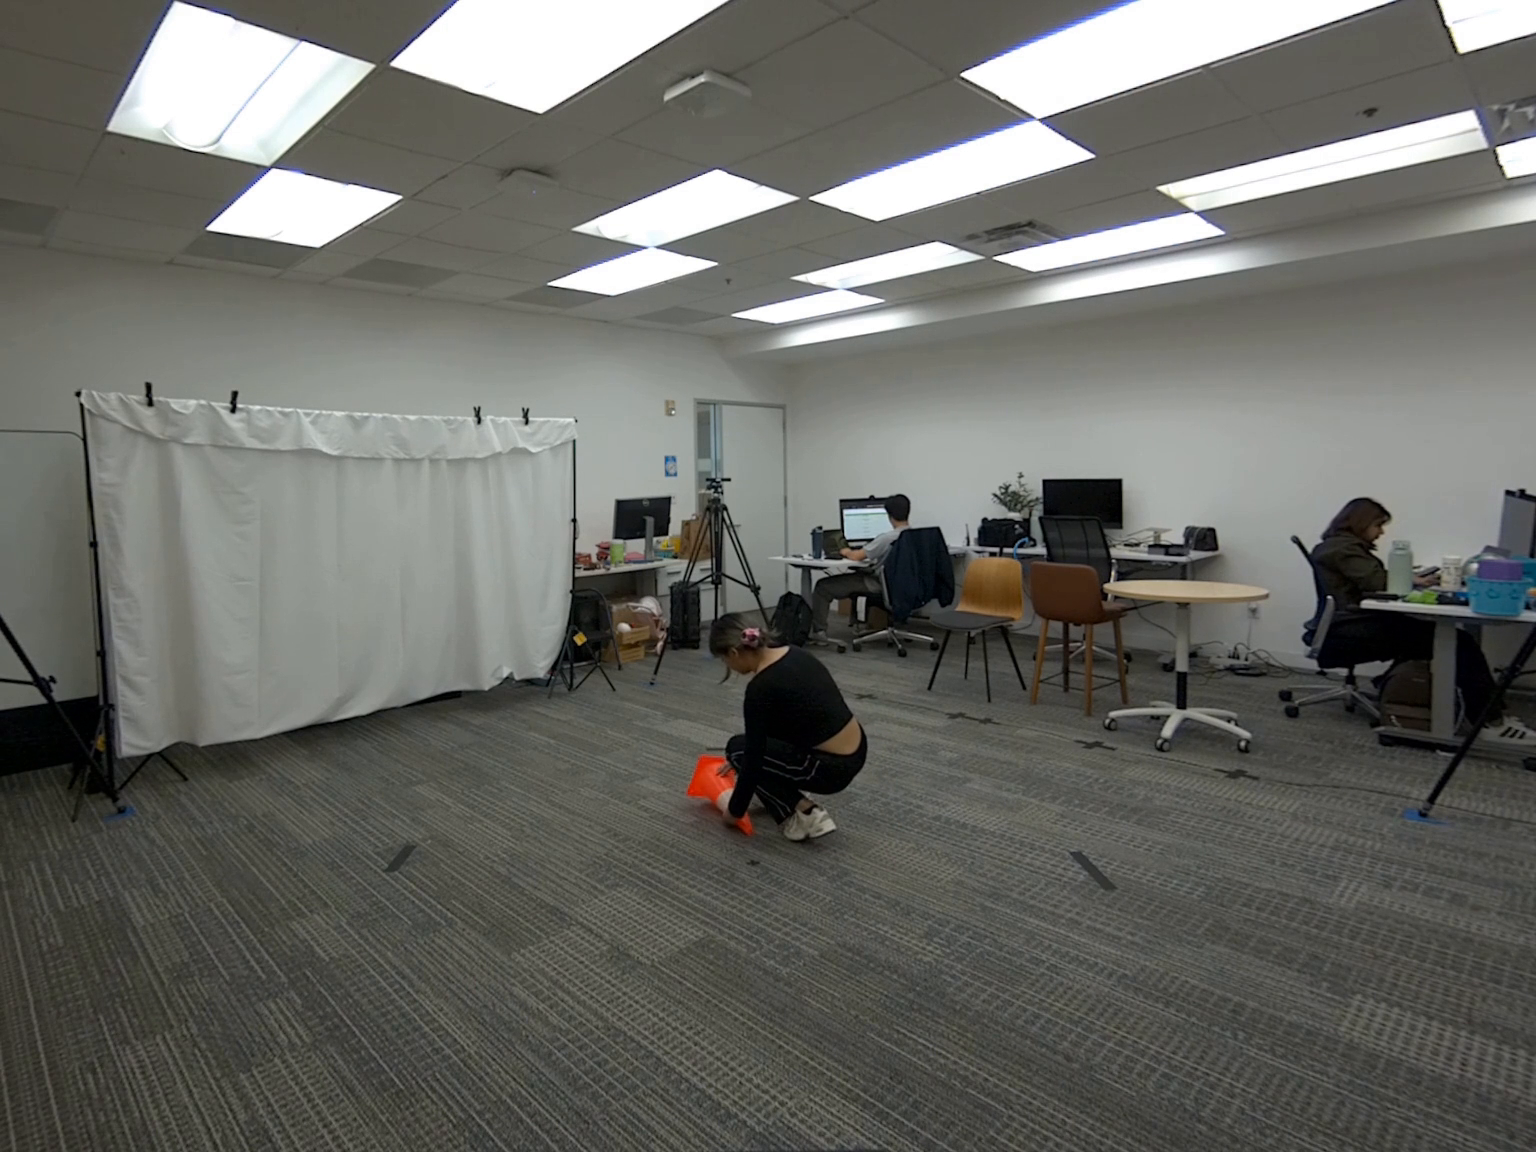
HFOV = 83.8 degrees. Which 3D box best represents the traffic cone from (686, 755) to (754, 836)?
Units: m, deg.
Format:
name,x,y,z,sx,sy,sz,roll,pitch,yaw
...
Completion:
name,x,y,z,sx,sy,sz,roll,pitch,yaw
traffic cone,-0.157,0.937,3.509,0.198,0.203,0.397,12,15,-29
